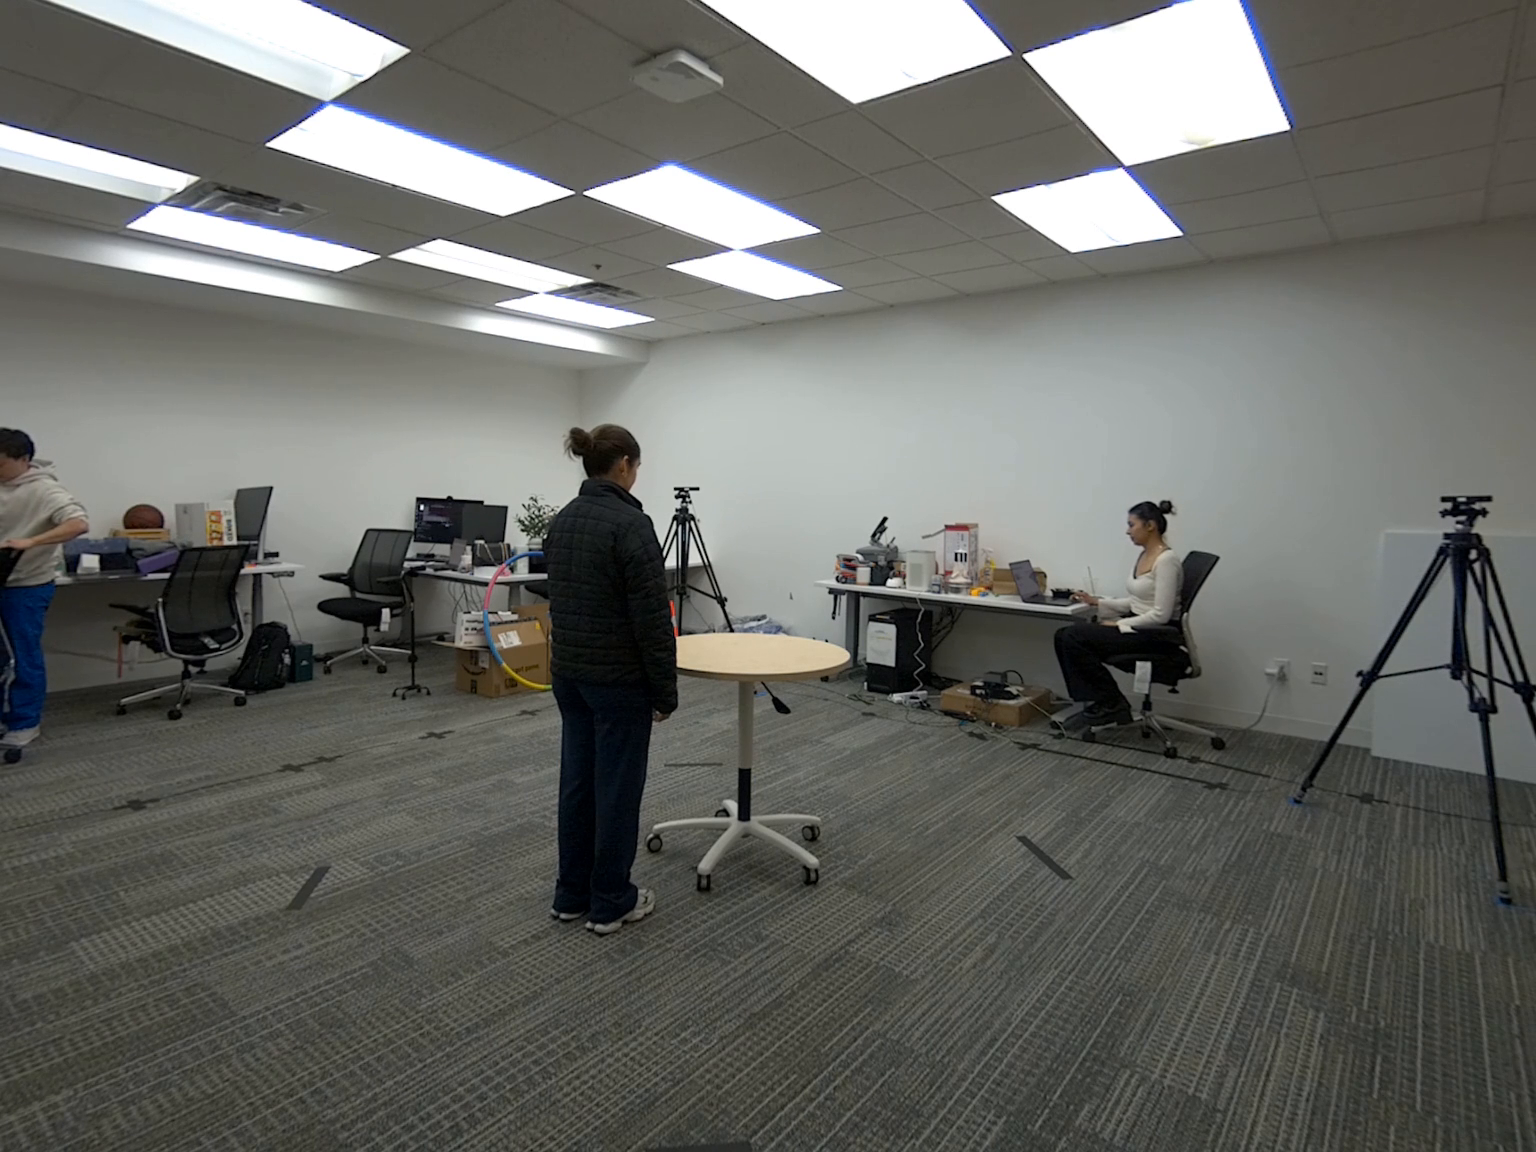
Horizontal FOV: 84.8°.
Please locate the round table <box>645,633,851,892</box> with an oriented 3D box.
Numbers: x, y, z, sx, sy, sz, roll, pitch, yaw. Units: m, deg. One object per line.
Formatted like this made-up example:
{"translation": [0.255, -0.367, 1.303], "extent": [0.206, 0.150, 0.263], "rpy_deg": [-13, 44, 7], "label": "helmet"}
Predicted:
{"translation": [-0.088, 0.665, 3.207], "extent": [0.784, 0.784, 0.789], "rpy_deg": [1, 4, -2], "label": "round table"}
